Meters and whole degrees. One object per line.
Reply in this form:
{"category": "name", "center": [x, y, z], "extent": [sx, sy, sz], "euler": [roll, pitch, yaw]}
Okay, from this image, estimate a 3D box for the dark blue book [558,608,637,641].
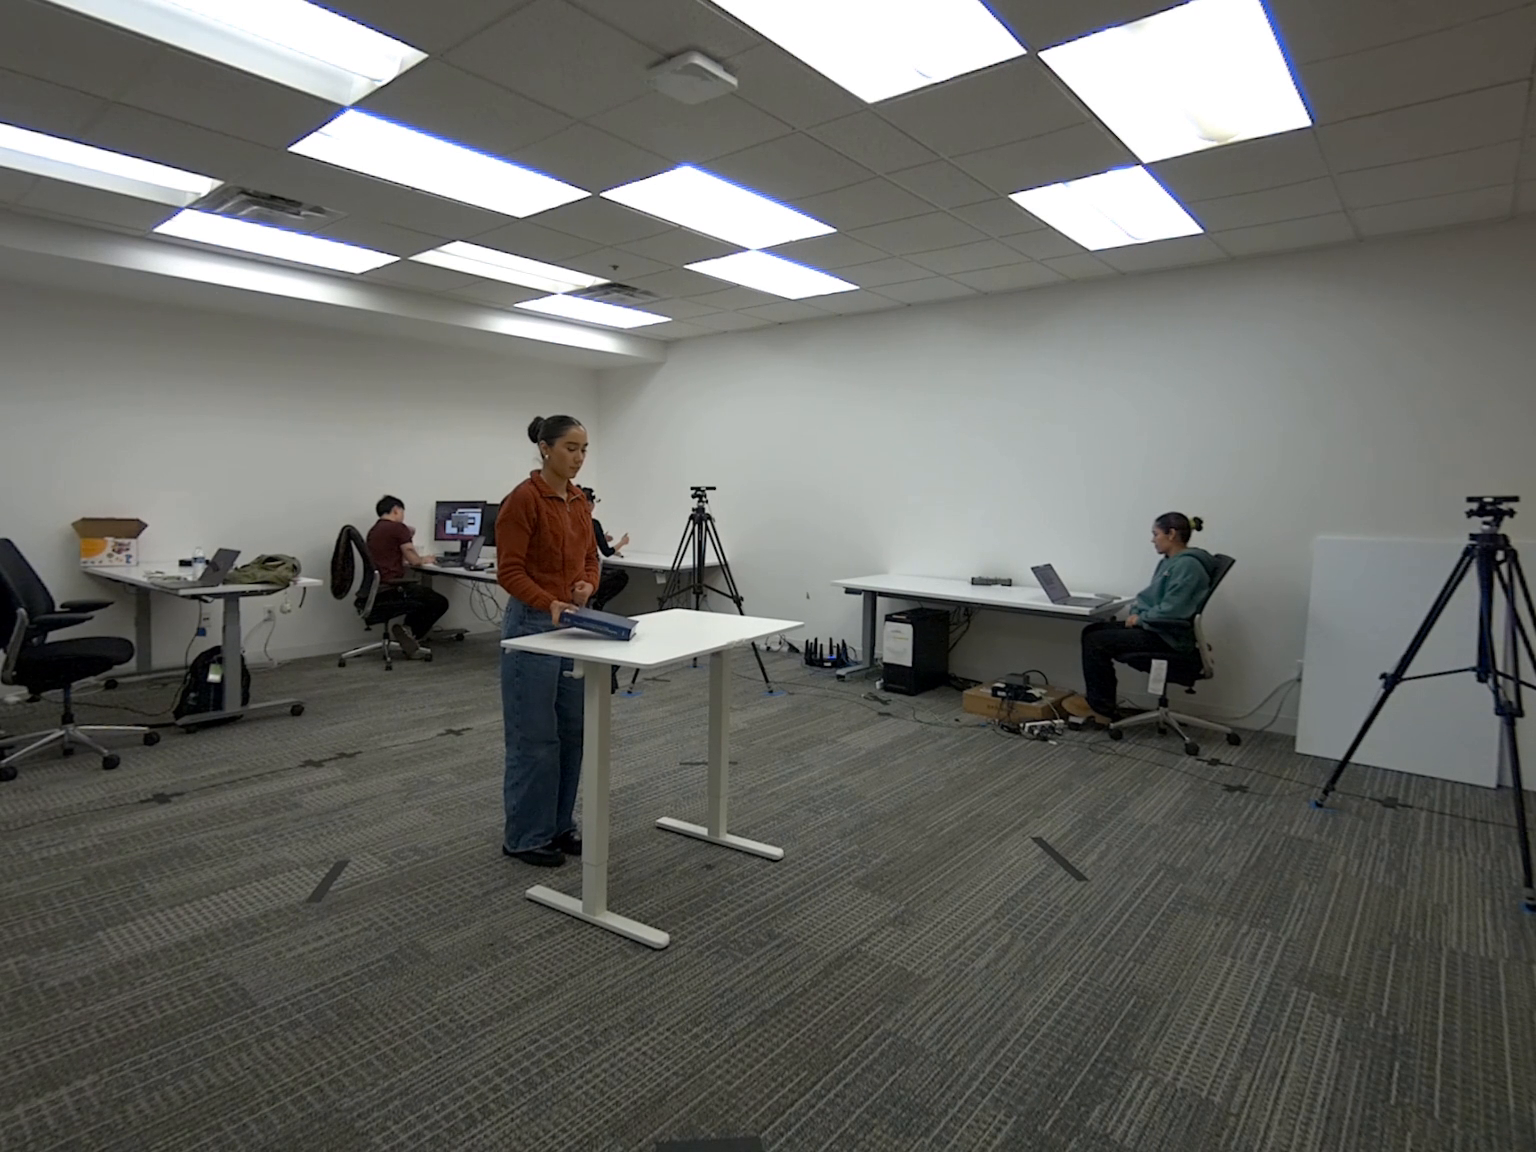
{"category": "dark blue book", "center": [-0.563, 0.153, 2.853], "extent": [0.245, 0.045, 0.164], "euler": [11, 5, -2]}
